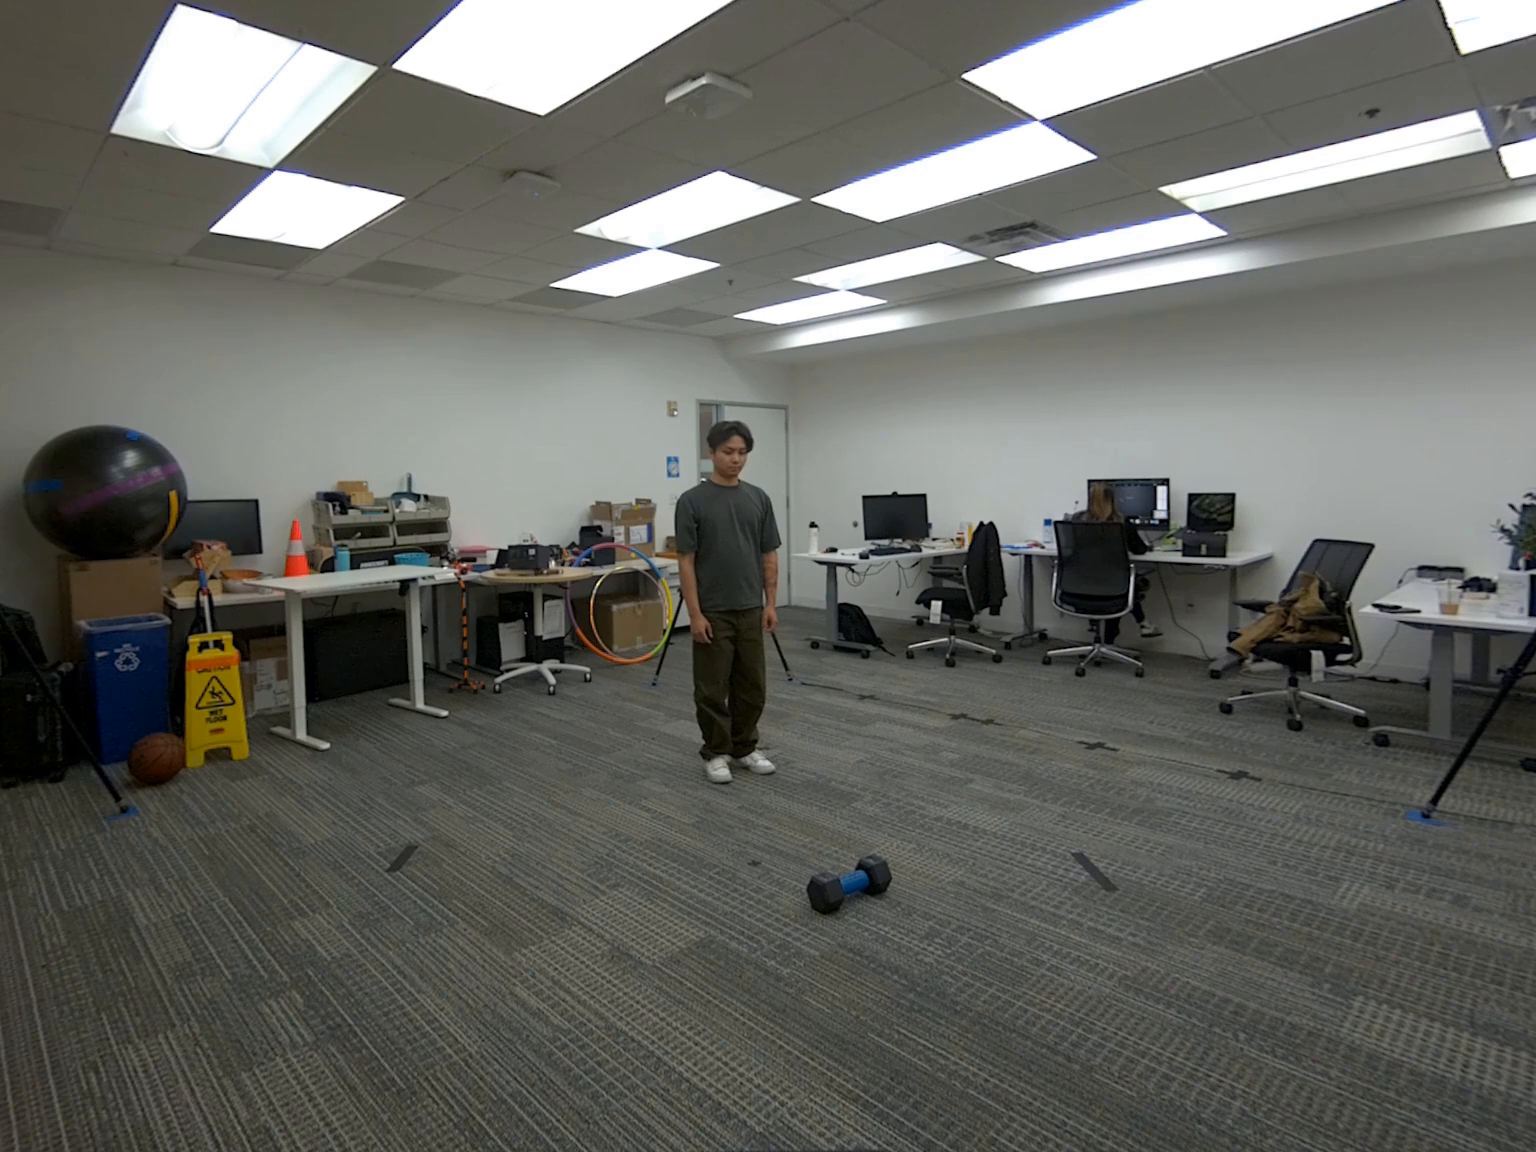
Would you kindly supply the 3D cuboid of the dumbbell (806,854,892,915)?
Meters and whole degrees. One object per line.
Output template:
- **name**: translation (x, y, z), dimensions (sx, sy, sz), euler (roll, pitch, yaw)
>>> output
- **dumbbell**: translation (0.277, 1.019, 2.824), dimensions (0.286, 0.121, 0.113), euler (-5, 37, -35)
